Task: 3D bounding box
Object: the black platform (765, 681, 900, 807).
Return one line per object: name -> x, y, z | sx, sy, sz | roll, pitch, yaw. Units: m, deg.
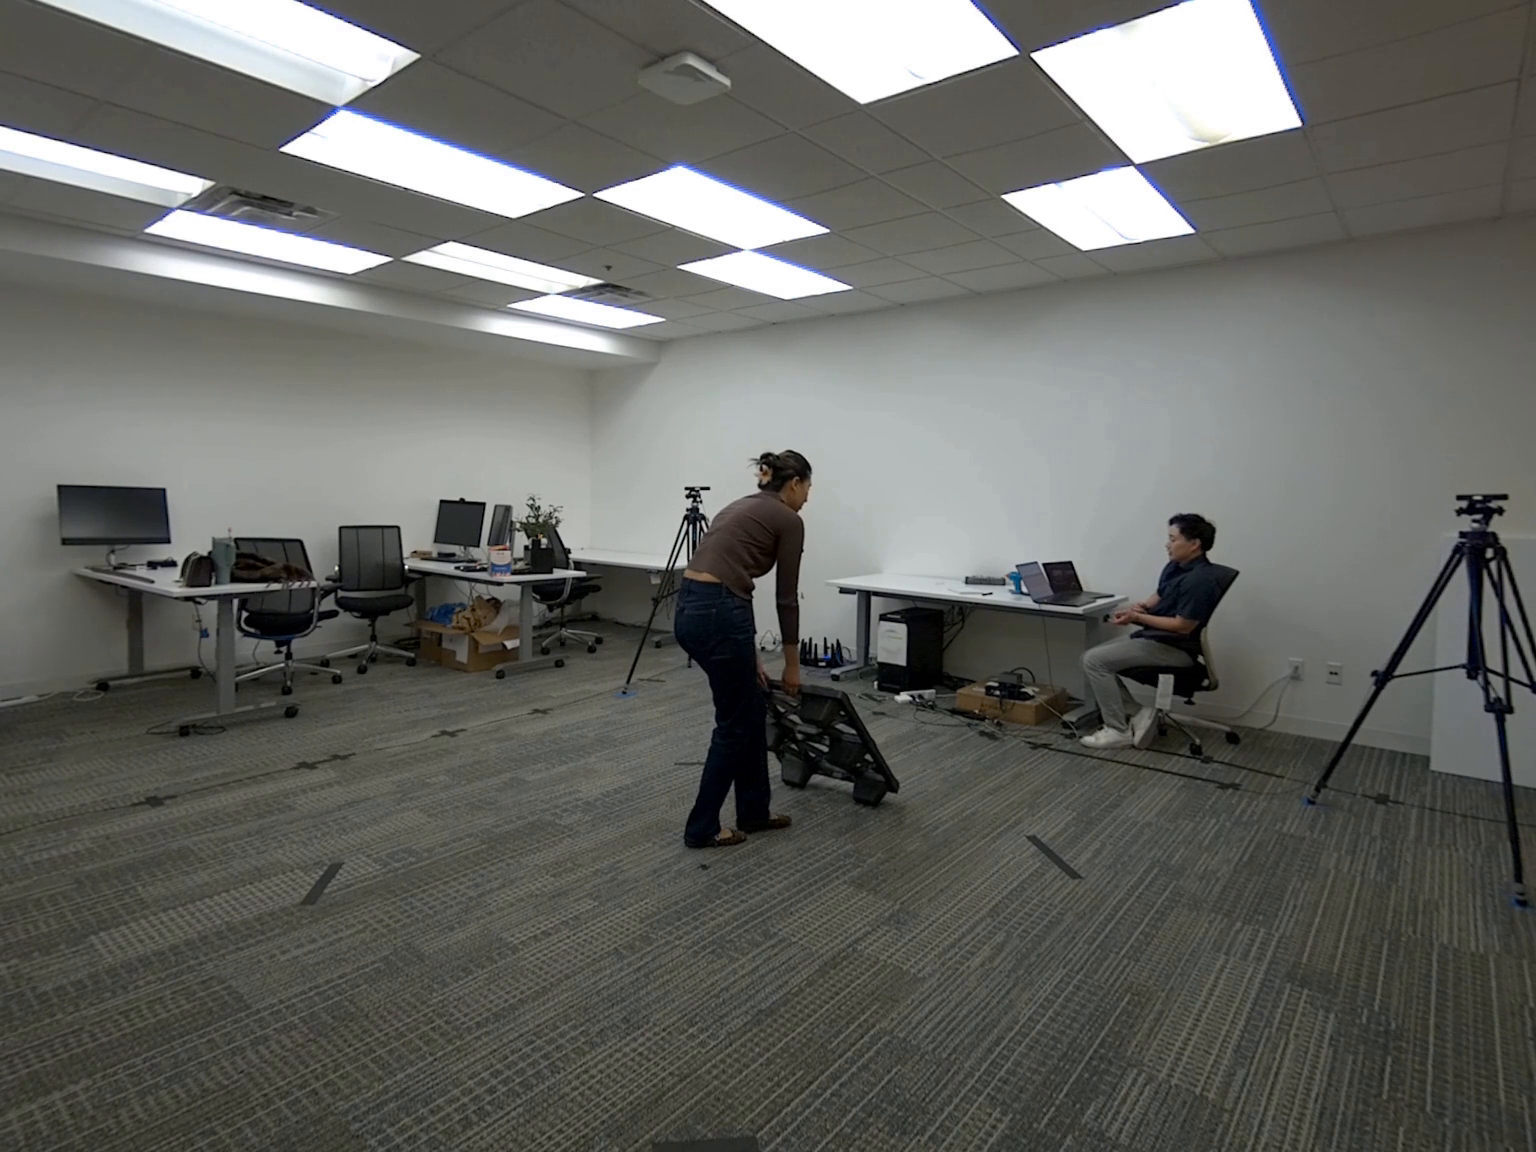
black platform -> 0.154, 0.713, 3.691 | 0.624, 0.144, 0.773 | 4, -39, 34
